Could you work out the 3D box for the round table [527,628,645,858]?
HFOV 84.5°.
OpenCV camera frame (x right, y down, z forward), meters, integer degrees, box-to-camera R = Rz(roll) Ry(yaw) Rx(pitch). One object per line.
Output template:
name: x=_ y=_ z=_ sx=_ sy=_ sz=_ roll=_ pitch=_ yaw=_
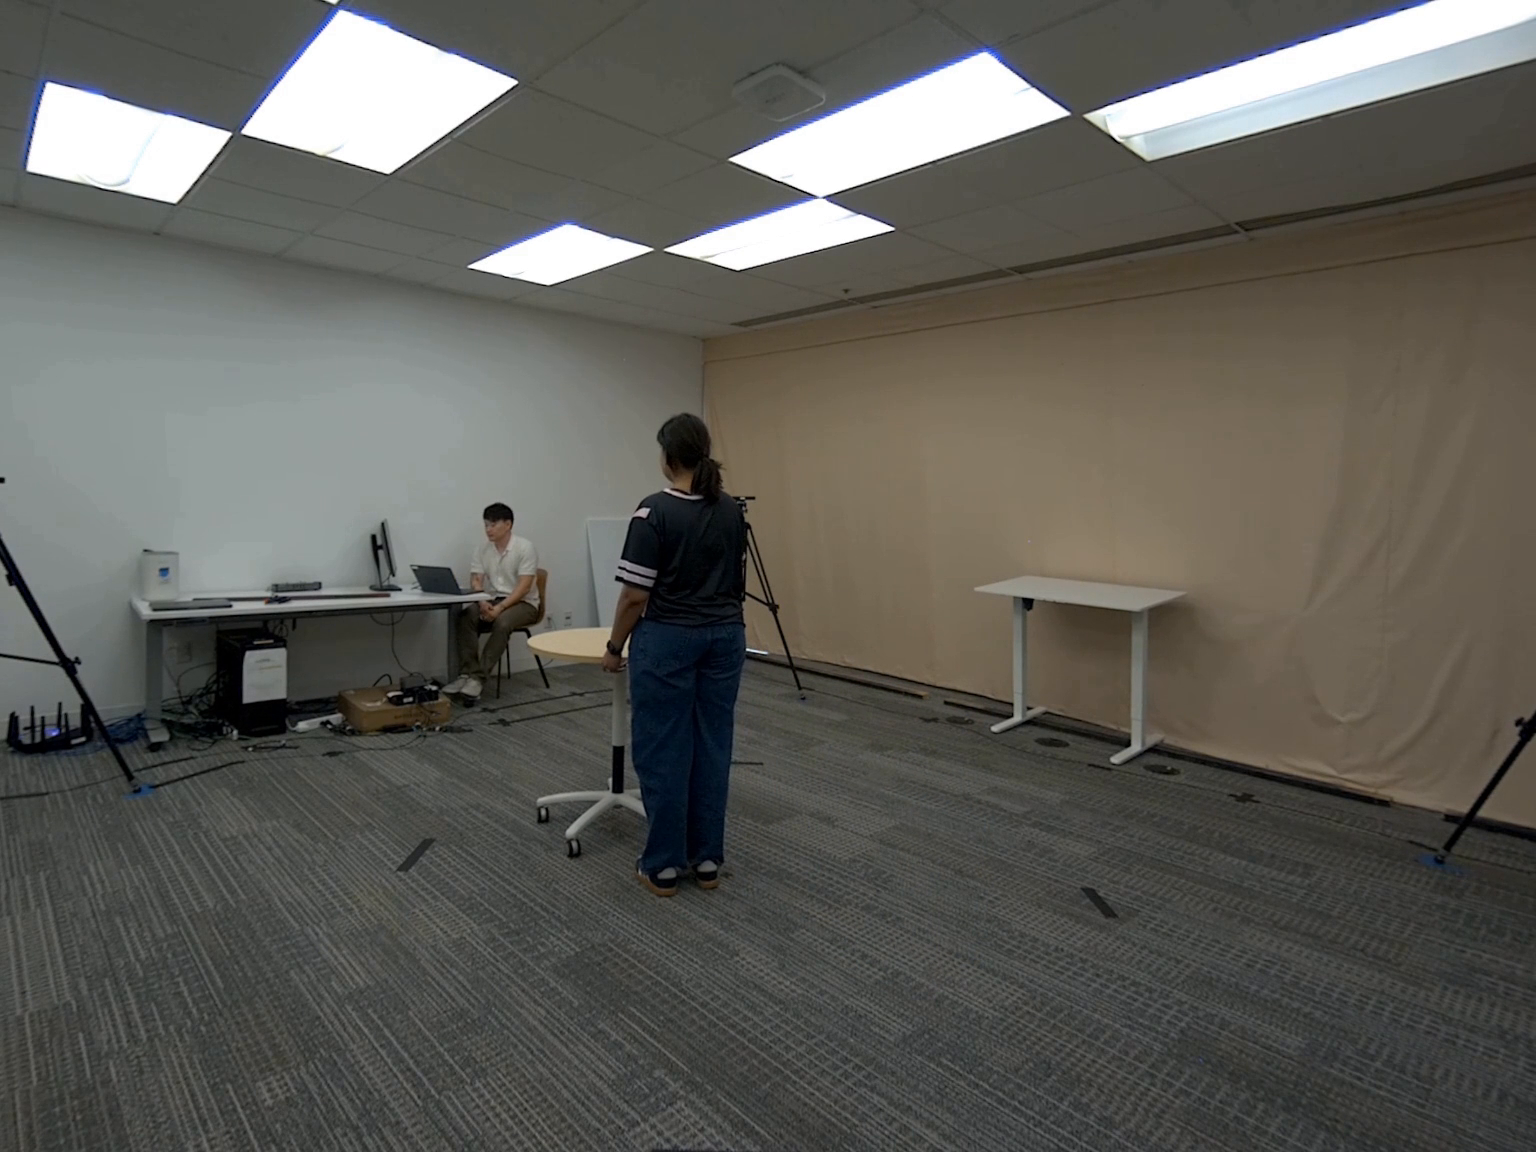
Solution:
round table: x=-0.624 y=0.661 z=3.520 sx=0.784 sy=0.785 sz=0.787 roll=2 pitch=4 yaw=-1
